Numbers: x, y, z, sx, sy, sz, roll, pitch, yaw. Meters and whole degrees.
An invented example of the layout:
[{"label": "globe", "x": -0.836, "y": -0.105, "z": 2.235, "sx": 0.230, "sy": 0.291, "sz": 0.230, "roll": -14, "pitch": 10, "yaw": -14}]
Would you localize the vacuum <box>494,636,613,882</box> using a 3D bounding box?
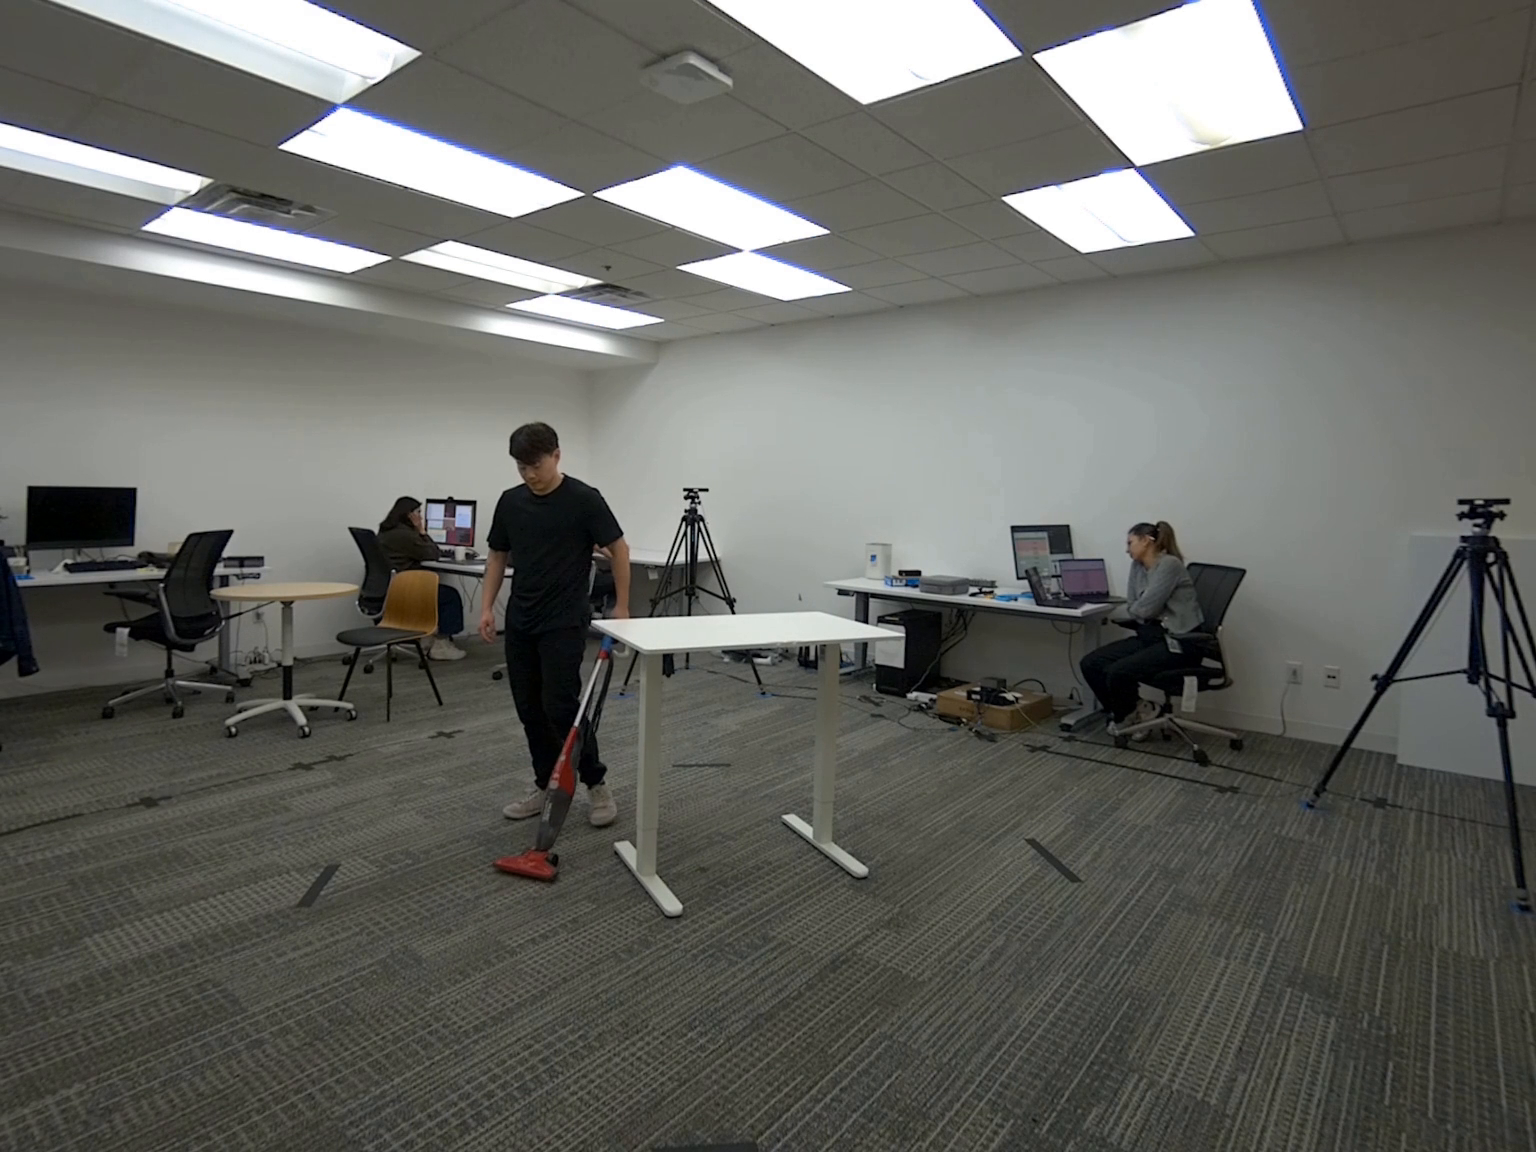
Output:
[{"label": "vacuum", "x": -0.758, "y": 0.622, "z": 3.340, "sx": 0.257, "sy": 1.068, "sz": 0.138, "roll": 2, "pitch": -34, "yaw": 17}]
